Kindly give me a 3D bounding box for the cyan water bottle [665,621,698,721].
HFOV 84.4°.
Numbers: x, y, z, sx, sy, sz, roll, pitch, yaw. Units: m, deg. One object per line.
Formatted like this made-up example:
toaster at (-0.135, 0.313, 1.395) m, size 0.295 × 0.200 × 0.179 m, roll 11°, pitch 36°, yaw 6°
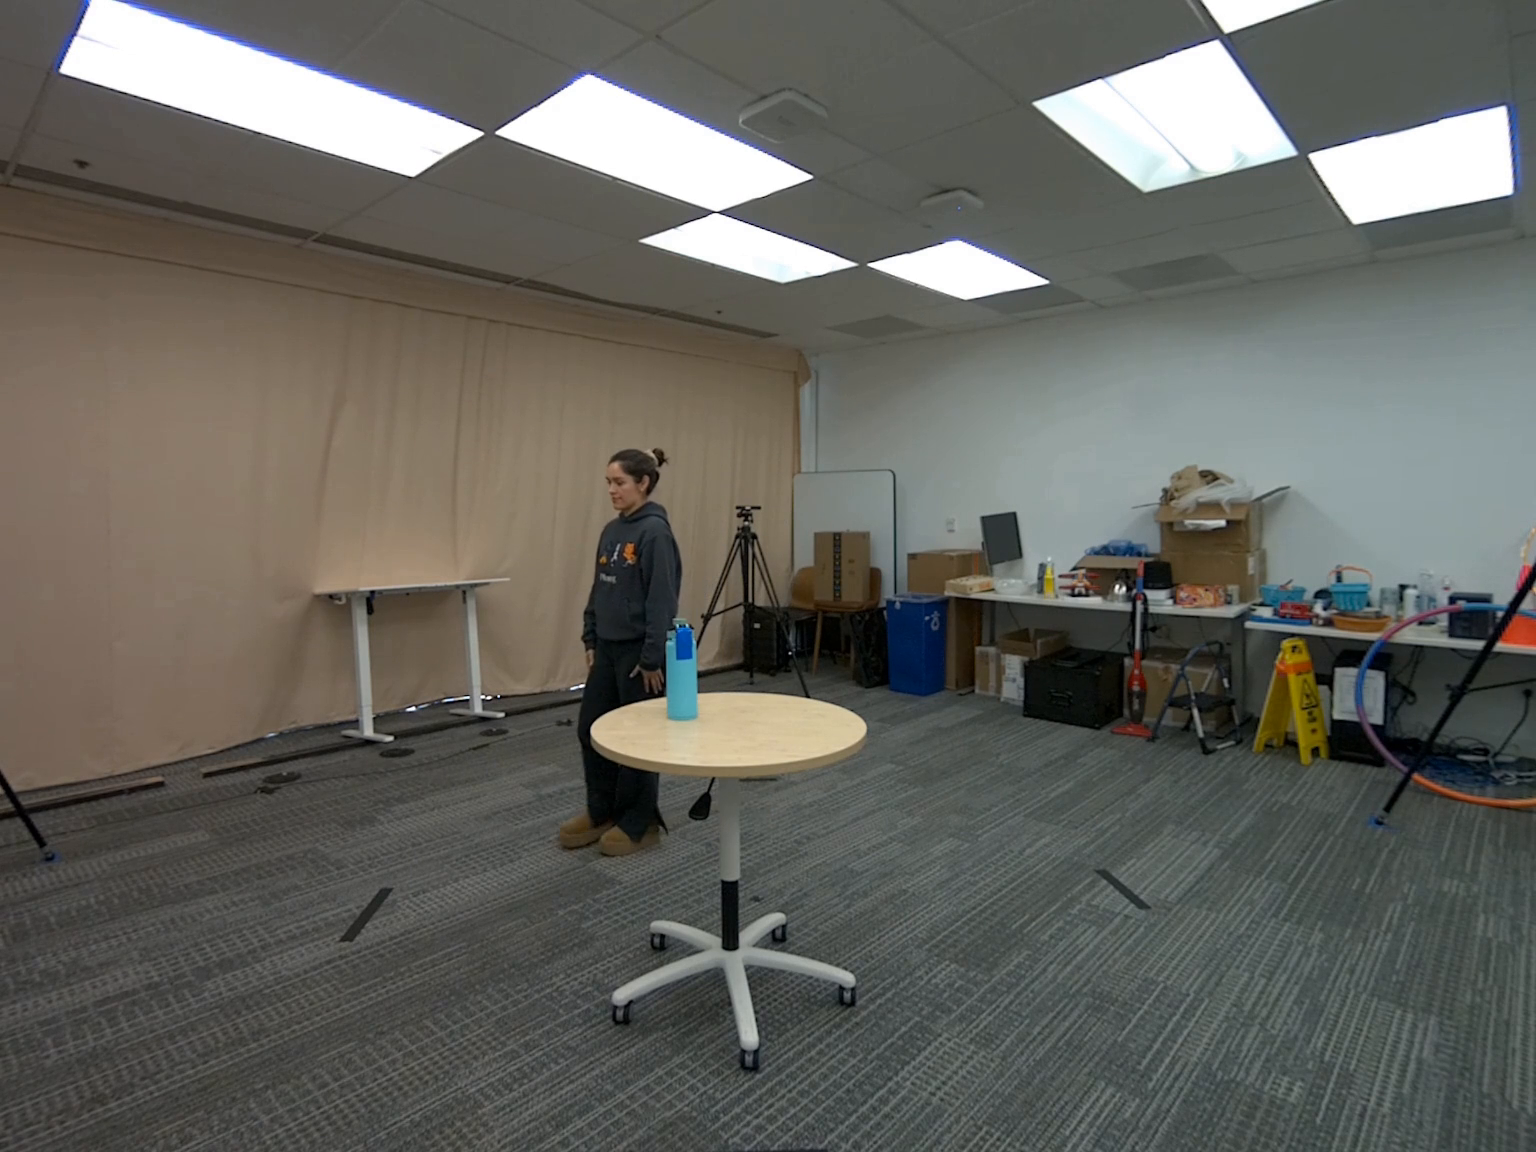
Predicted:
cyan water bottle at (-0.238, 0.272, 2.426) m, size 0.092 × 0.283 × 0.092 m, roll 0°, pitch 3°, yaw -2°
